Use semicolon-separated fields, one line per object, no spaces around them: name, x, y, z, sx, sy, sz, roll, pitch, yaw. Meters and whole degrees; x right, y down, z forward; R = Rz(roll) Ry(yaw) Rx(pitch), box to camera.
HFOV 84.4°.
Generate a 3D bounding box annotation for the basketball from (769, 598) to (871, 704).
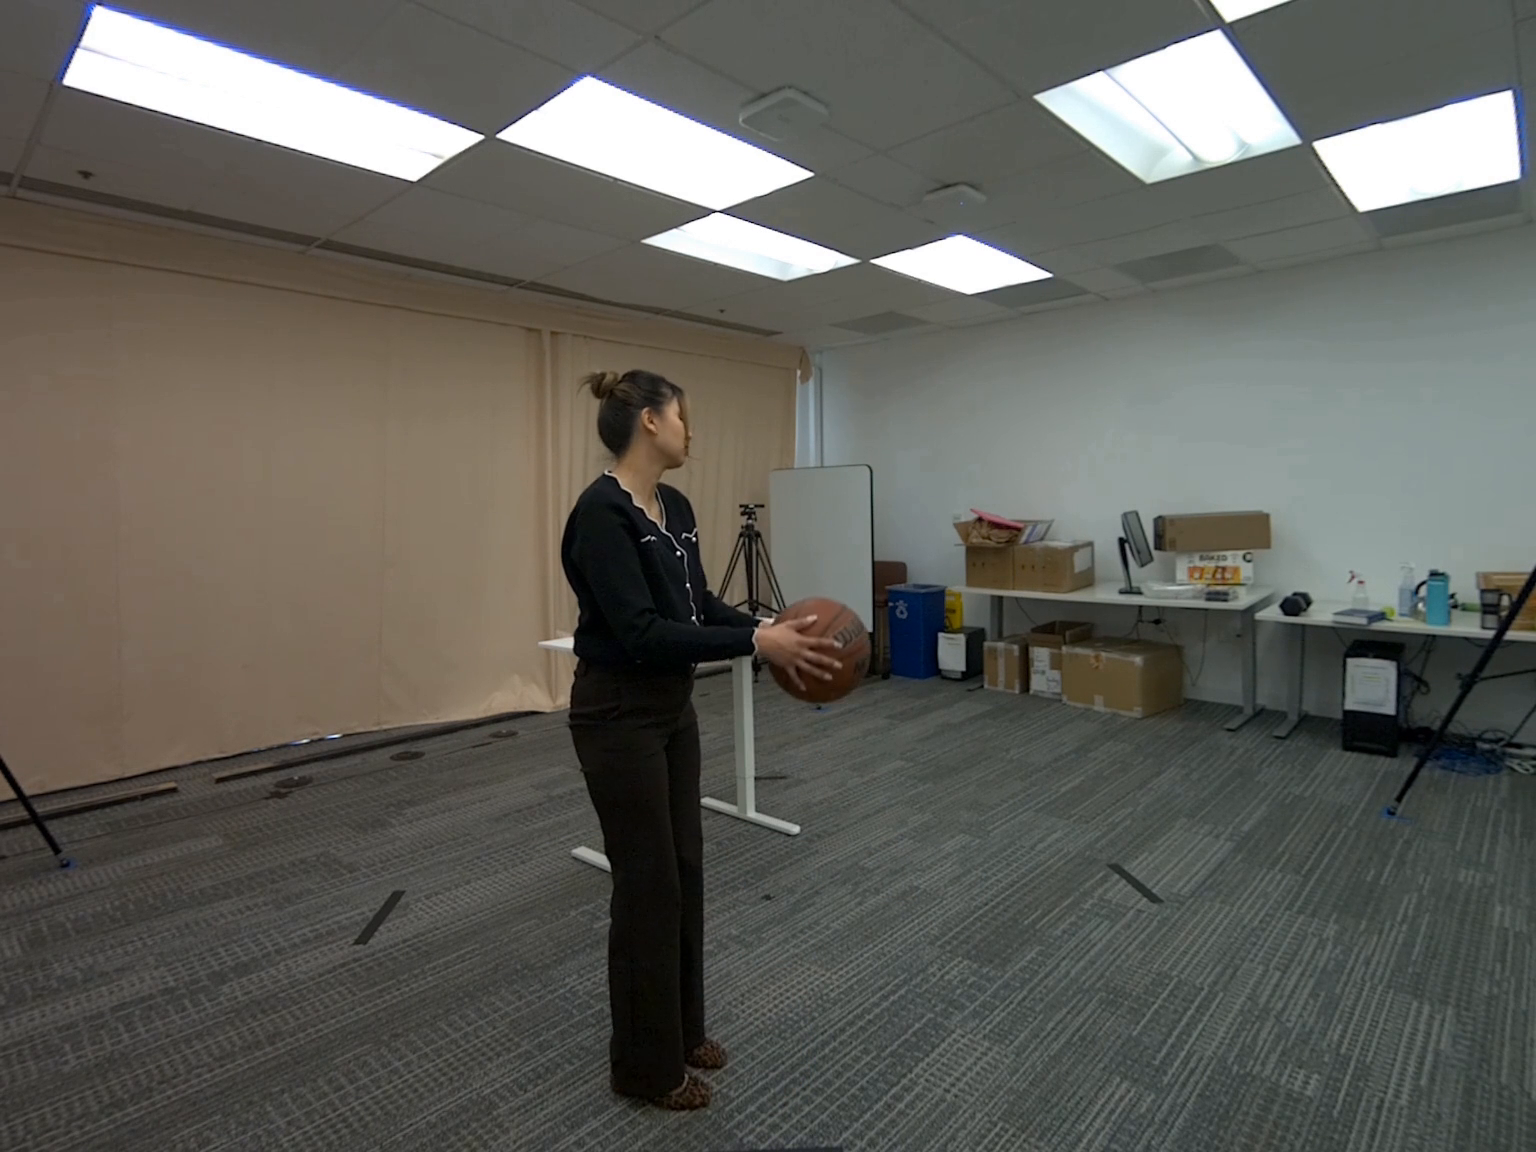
basketball;0.104;0.170;1.889;0.236;0.235;0.237;-1;4;-2
